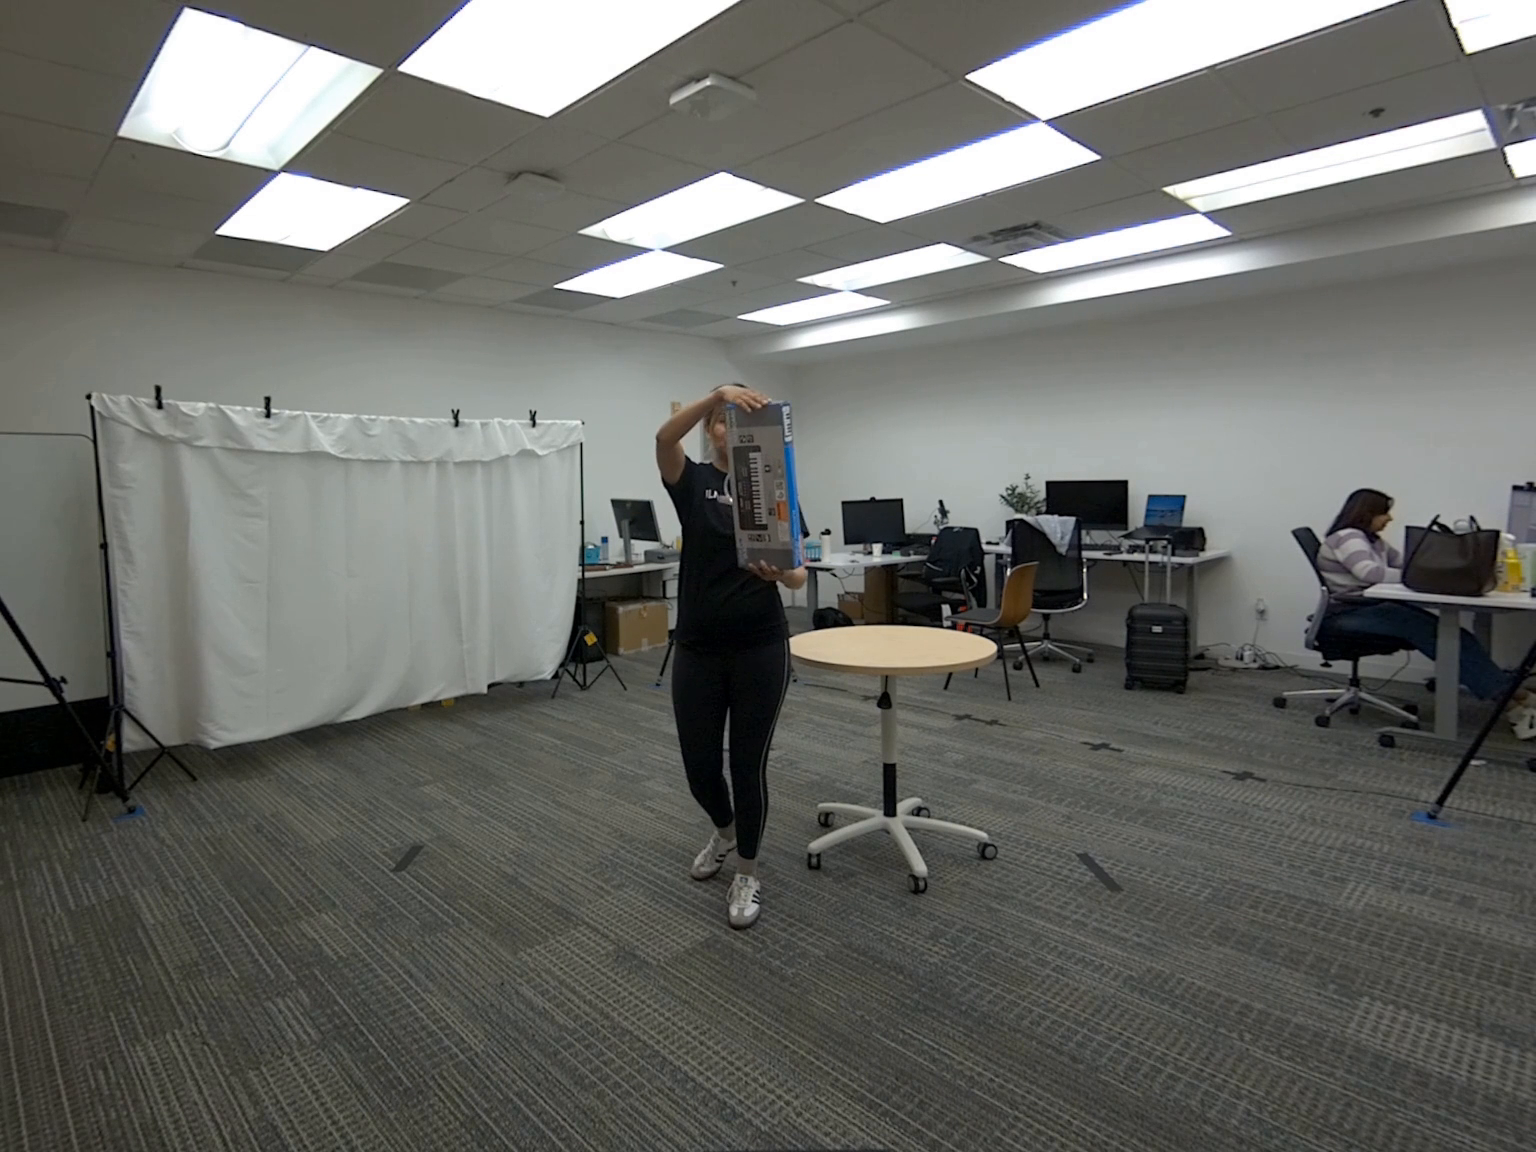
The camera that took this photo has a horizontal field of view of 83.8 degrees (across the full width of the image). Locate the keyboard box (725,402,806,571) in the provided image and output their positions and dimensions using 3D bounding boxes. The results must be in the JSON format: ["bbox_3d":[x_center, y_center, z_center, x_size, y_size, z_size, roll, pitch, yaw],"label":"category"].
[{"bbox_3d":[-0.010,-0.235,2.272,0.181,0.432,0.058,1,13,32],"label":"keyboard box"}]
